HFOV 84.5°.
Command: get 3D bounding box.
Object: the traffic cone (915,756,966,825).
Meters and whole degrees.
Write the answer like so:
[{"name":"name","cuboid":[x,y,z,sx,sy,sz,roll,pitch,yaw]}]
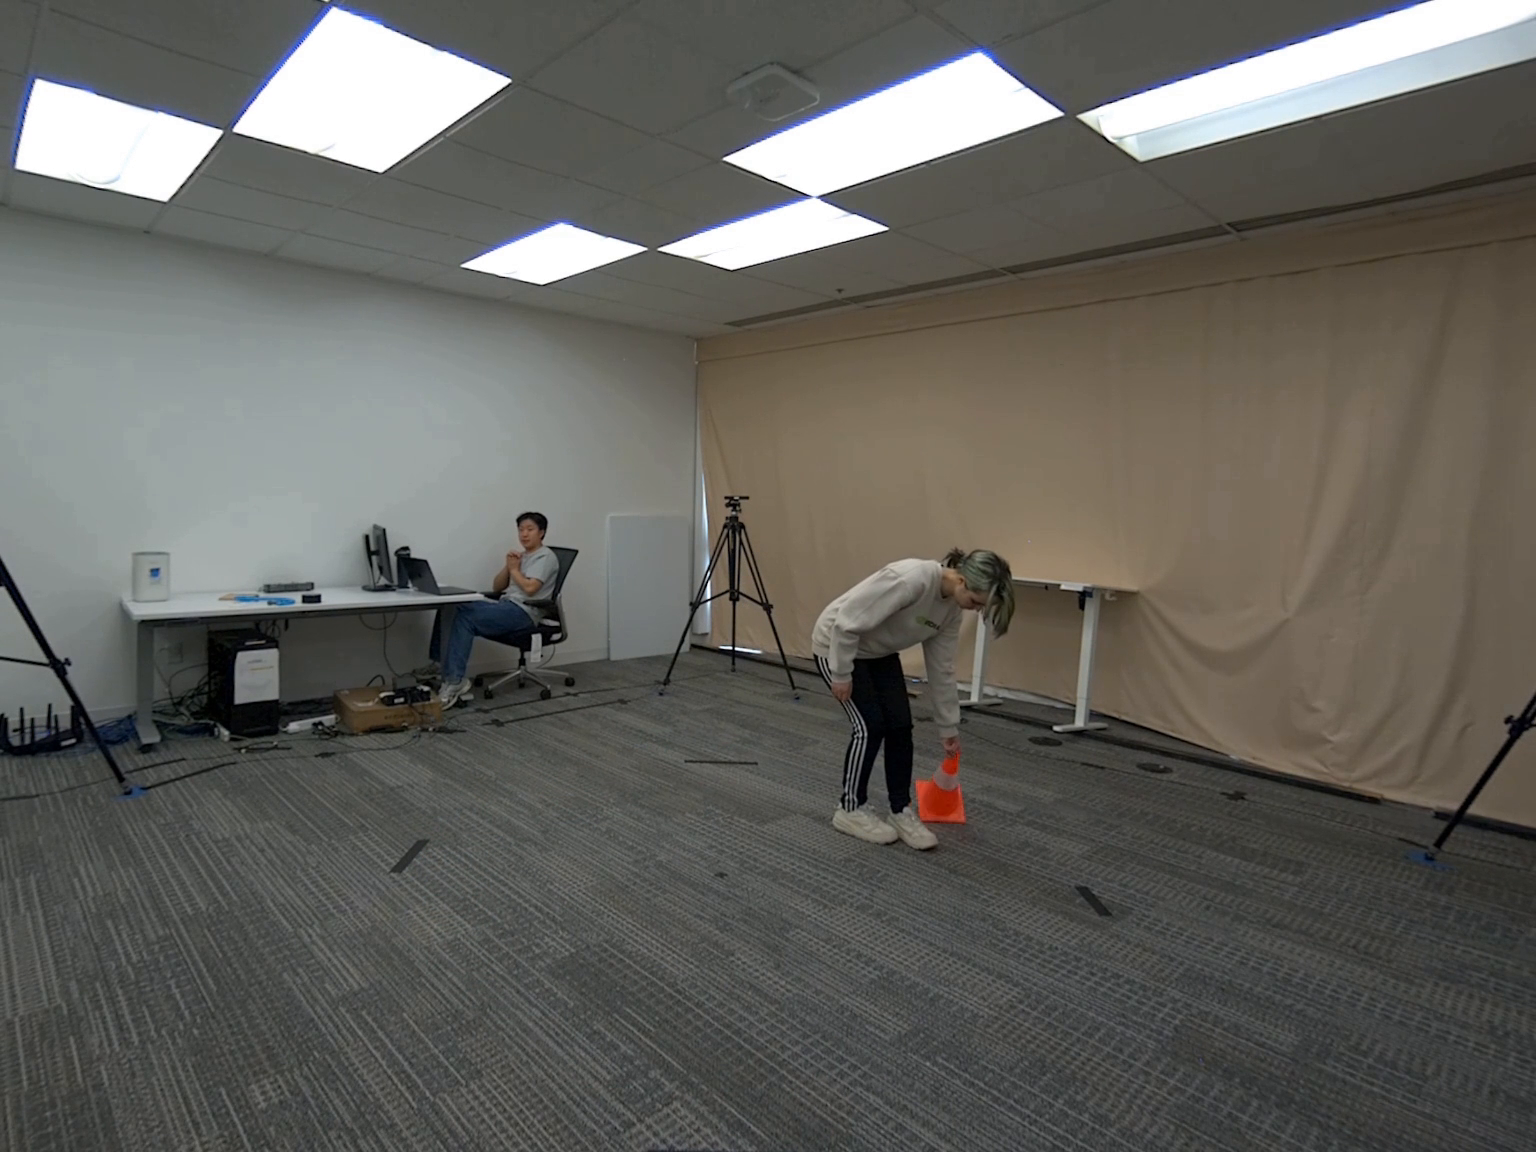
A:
[{"name":"traffic cone","cuboid":[0.762,0.871,3.602,0.205,0.375,0.207,3,42,1]}]
